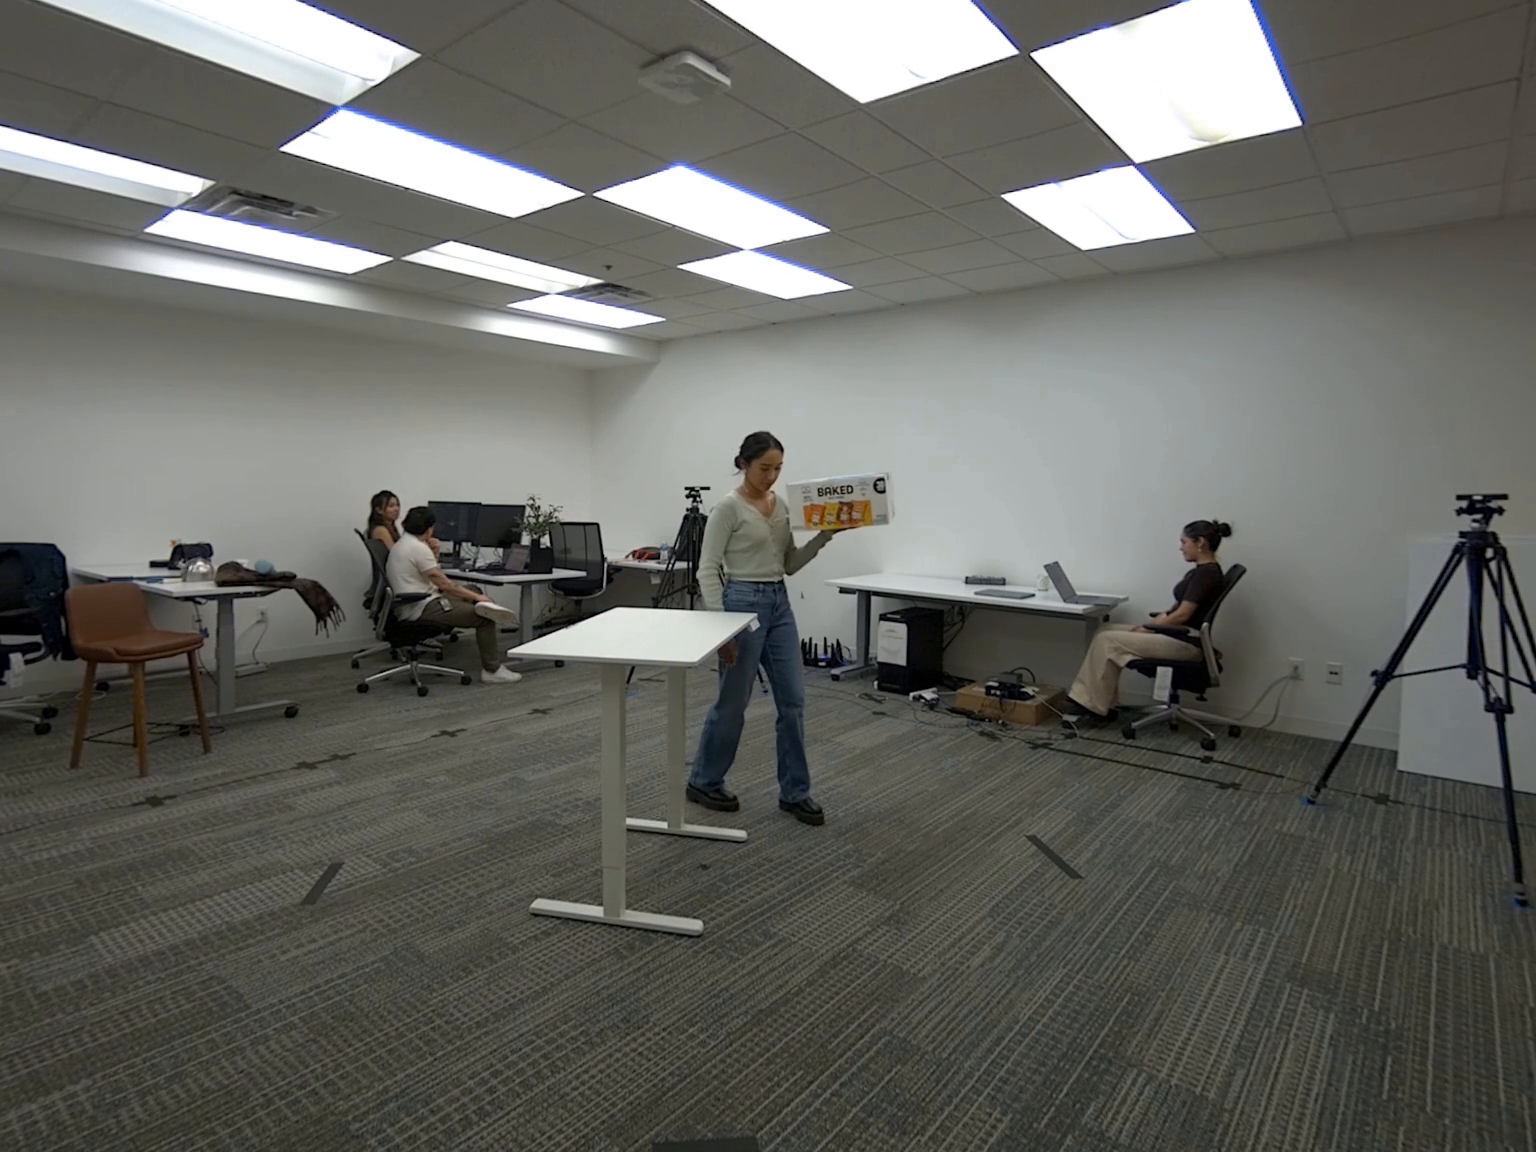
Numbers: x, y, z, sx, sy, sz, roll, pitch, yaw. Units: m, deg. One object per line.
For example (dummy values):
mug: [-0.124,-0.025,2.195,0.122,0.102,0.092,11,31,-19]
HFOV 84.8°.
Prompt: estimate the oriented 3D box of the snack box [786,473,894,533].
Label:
snack box: [0.305,-0.329,3.640,0.411,0.204,0.338,-3,9,14]
